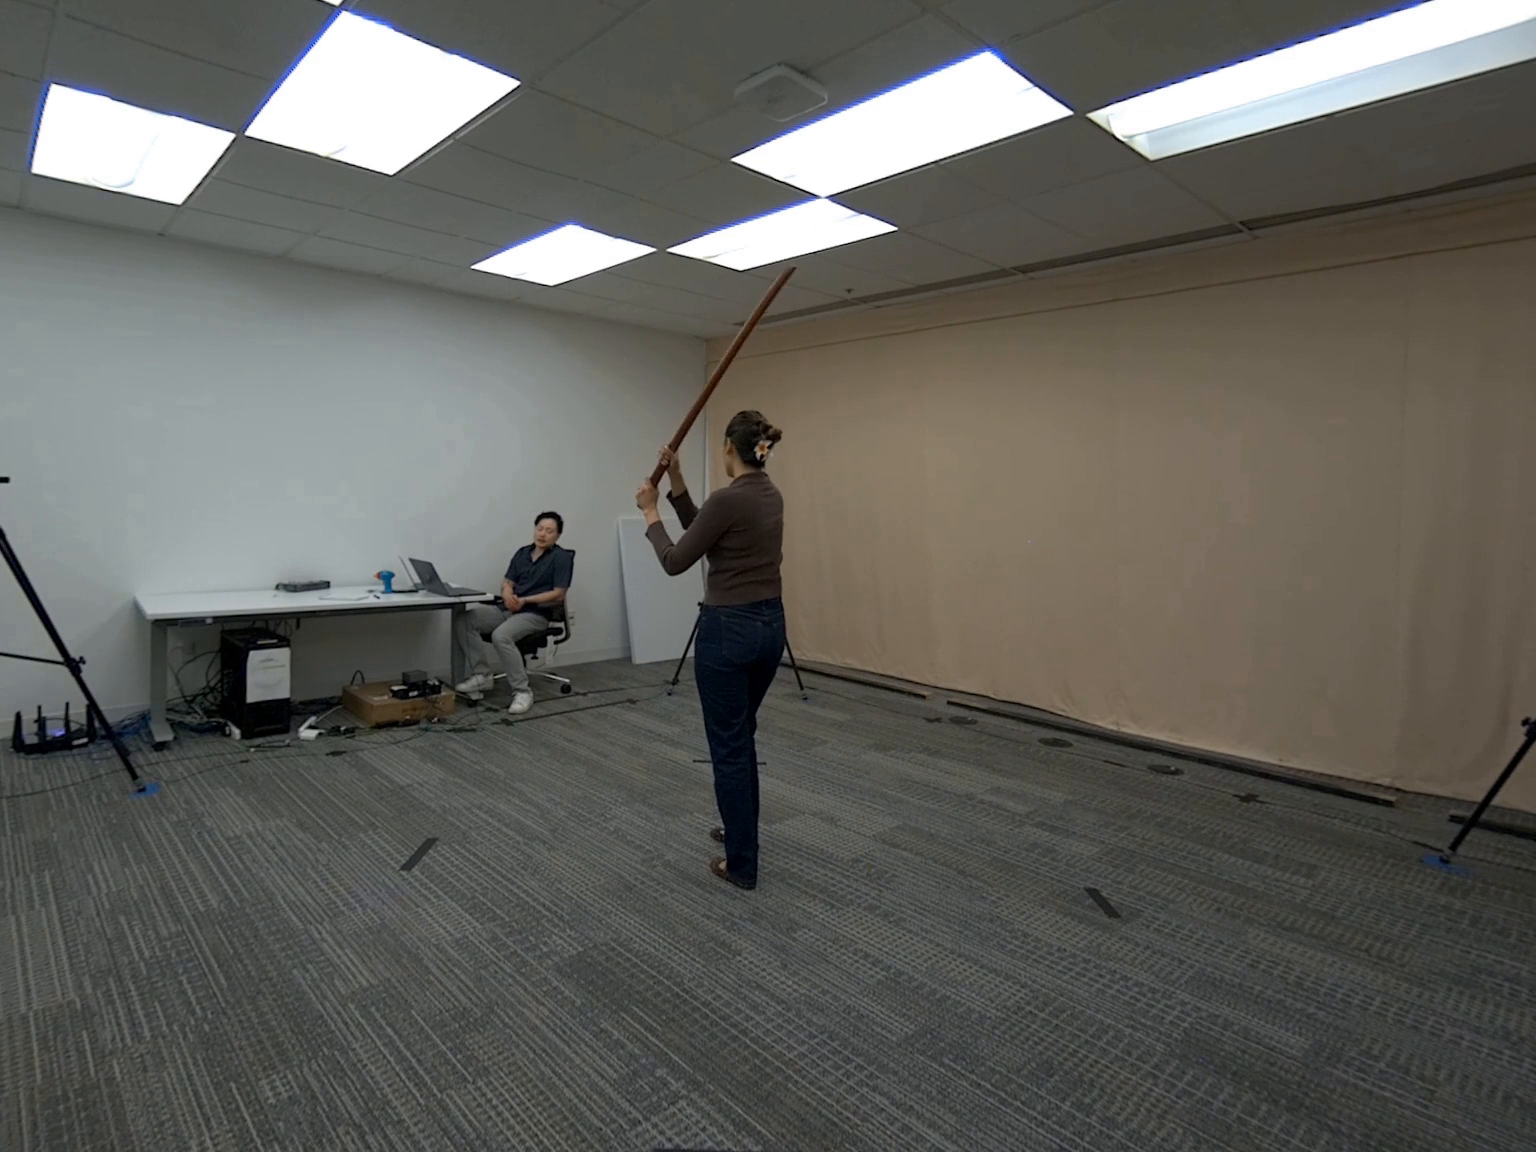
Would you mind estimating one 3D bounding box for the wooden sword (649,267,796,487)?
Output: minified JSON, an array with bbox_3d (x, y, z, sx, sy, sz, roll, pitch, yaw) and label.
[{"bbox_3d":[-0.217,-0.627,2.900,0.024,1.022,0.052,31,25,-15],"label":"wooden sword"}]
